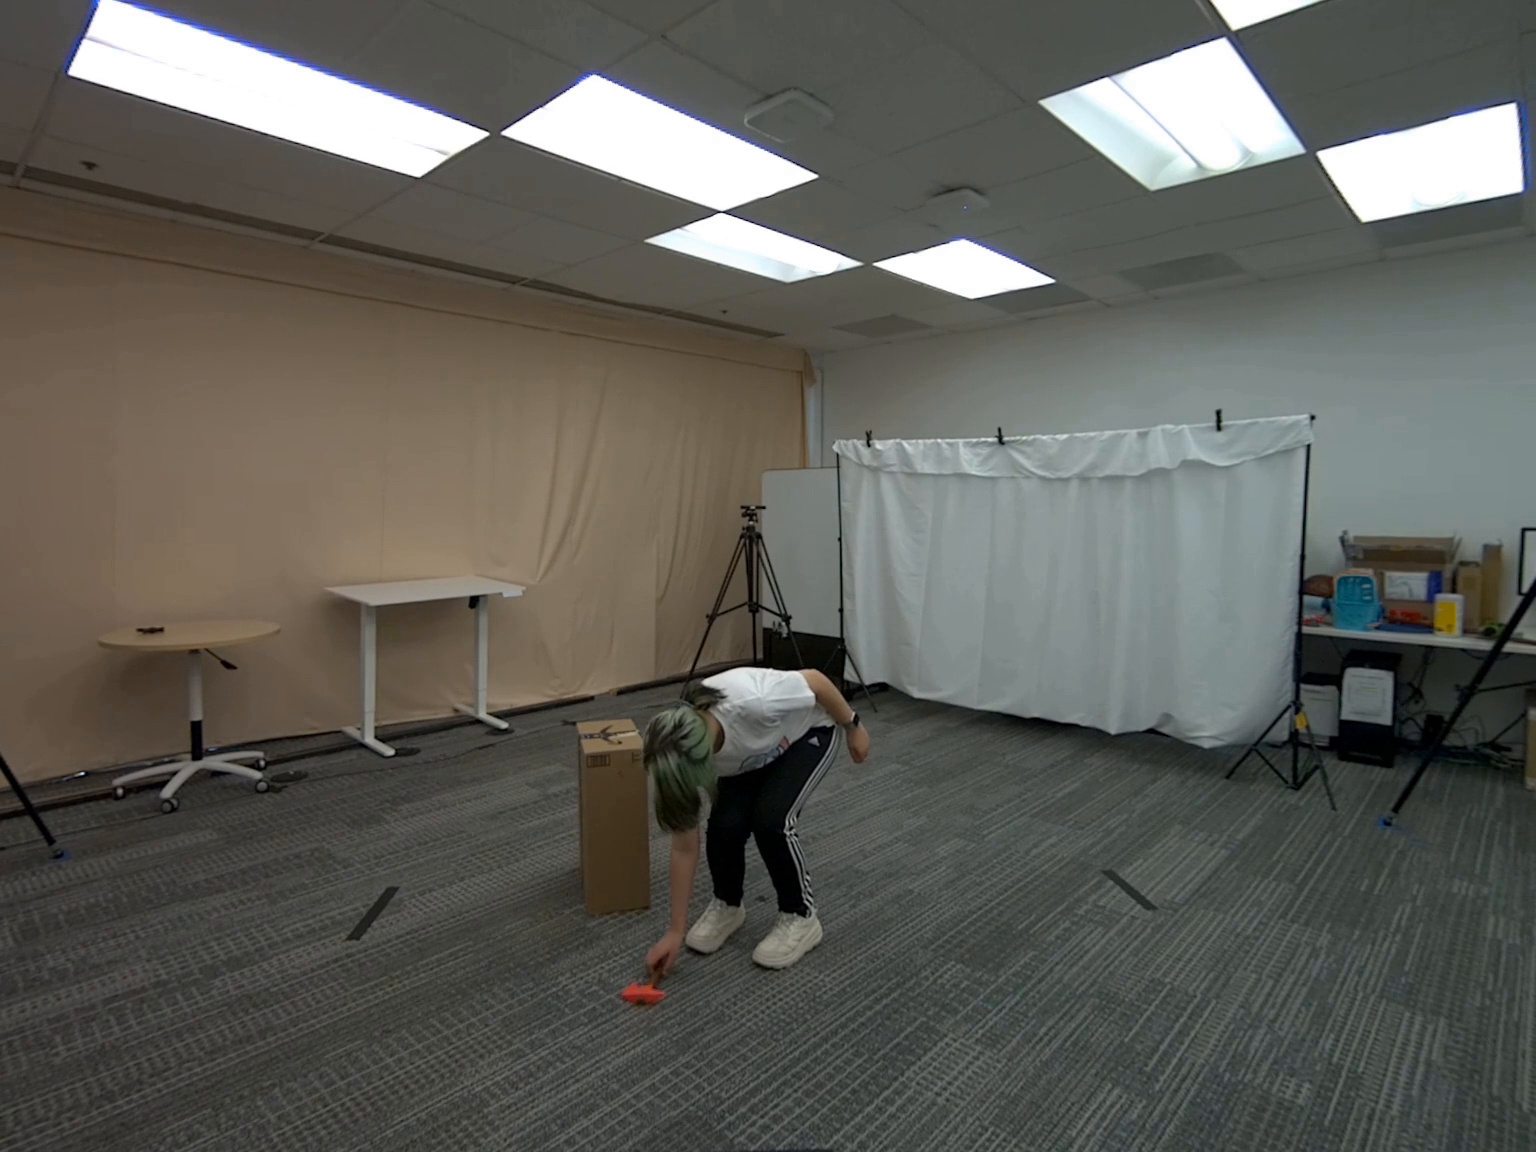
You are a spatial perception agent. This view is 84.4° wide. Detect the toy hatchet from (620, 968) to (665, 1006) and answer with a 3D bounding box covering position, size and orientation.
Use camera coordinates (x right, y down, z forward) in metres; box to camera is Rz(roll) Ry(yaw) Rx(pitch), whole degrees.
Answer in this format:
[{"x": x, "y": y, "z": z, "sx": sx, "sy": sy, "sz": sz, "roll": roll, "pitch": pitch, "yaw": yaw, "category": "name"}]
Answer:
[{"x": -0.359, "y": 1.163, "z": 2.467, "sx": 0.131, "sy": 0.029, "sz": 0.272, "roll": -13, "pitch": 6, "yaw": -4, "category": "toy hatchet"}]
